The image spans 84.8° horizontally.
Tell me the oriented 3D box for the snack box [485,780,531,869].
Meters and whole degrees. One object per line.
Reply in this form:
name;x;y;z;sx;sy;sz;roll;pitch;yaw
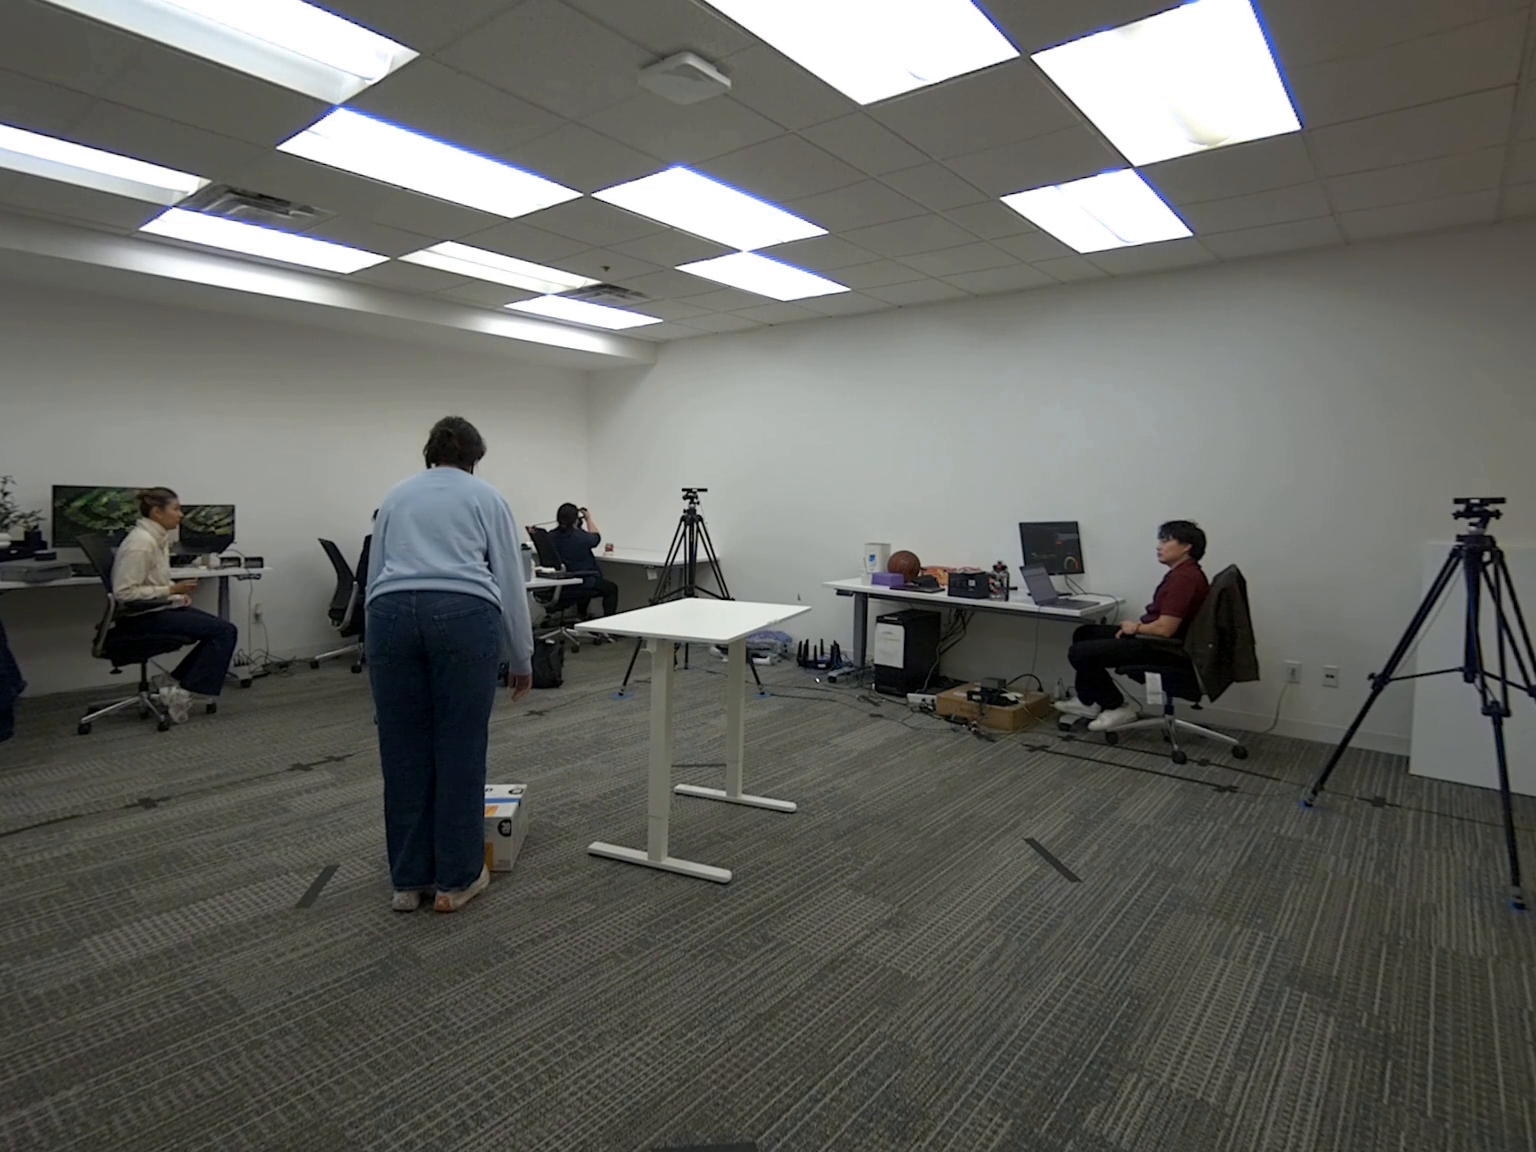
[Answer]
snack box;-1.139;0.938;3.202;0.403;0.205;0.343;0;5;-5
